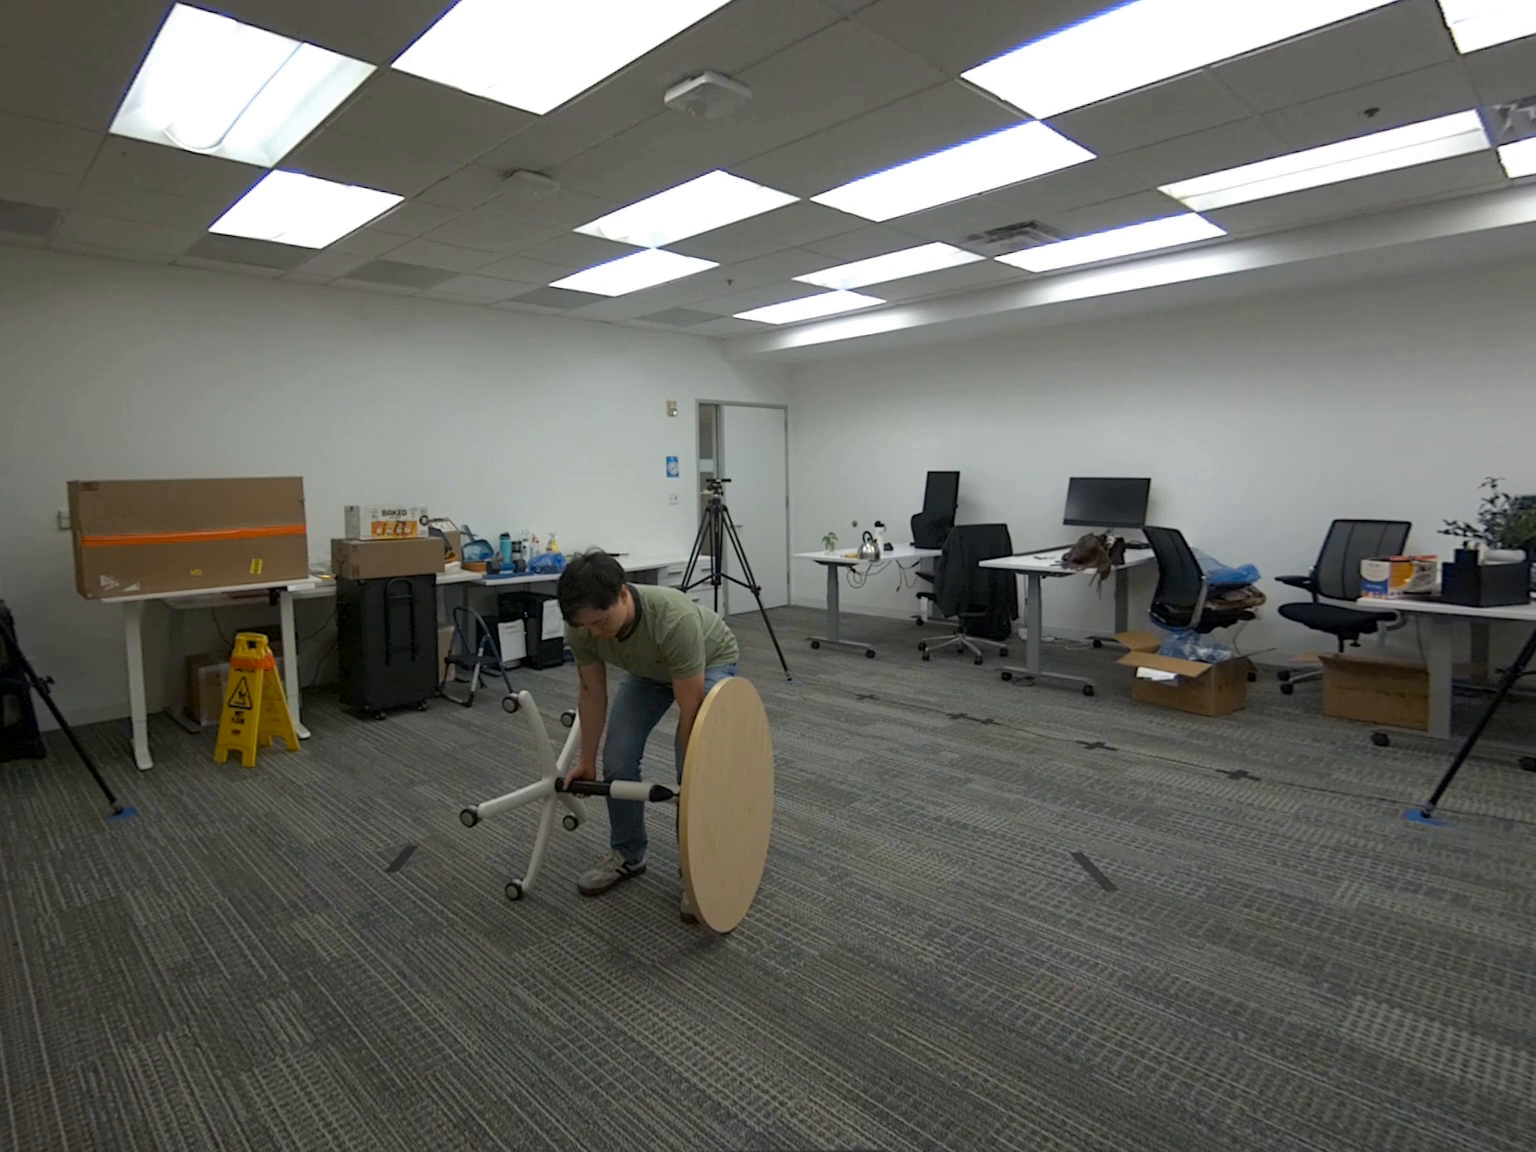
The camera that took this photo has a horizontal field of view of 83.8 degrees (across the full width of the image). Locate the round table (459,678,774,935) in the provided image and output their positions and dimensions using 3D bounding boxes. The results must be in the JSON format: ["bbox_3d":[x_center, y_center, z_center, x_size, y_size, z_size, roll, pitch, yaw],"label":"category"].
[{"bbox_3d":[-0.478,0.719,2.848,0.809,0.762,0.752,-2,4,20],"label":"round table"}]
